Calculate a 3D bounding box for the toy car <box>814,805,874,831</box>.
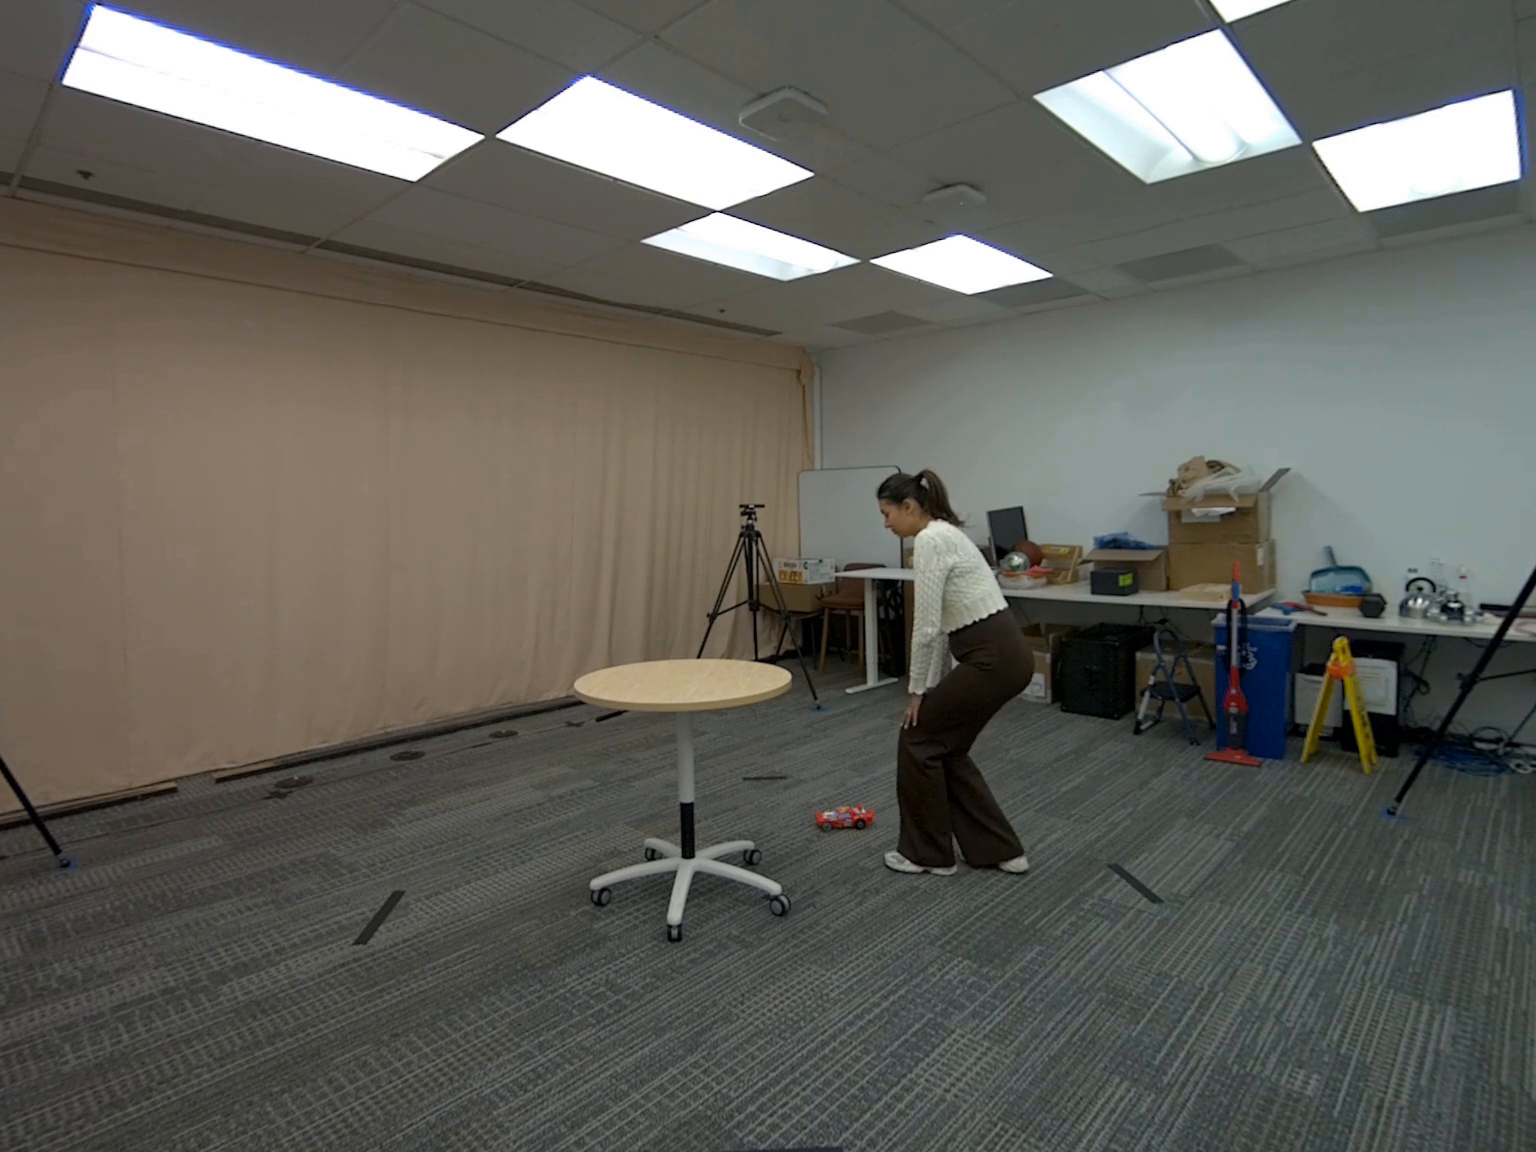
[{"bbox_3d":[0.340,1.047,3.639,0.253,0.083,0.131,-12,6,-5],"label":"toy car"}]
